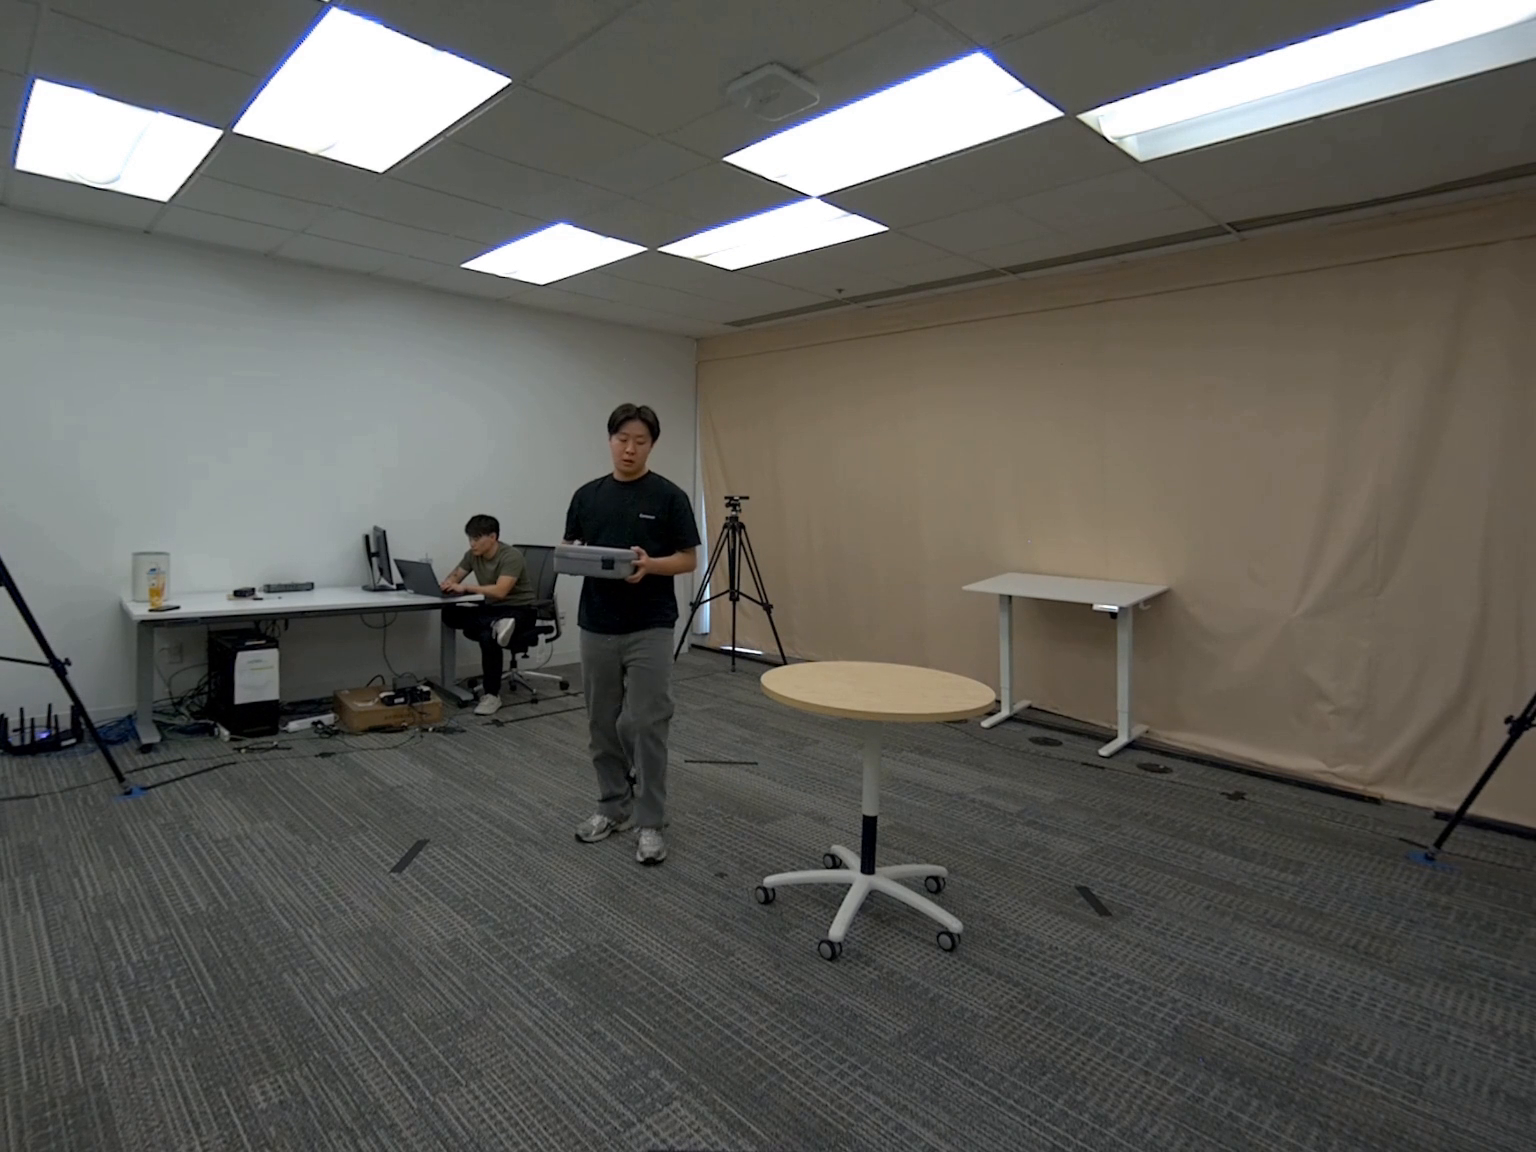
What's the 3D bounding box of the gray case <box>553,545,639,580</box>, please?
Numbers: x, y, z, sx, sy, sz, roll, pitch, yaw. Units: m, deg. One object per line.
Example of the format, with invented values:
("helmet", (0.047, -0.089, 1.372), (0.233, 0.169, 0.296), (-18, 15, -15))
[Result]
("gray case", (-0.626, -0.048, 3.072), (0.264, 0.103, 0.286), (6, 3, 4))
